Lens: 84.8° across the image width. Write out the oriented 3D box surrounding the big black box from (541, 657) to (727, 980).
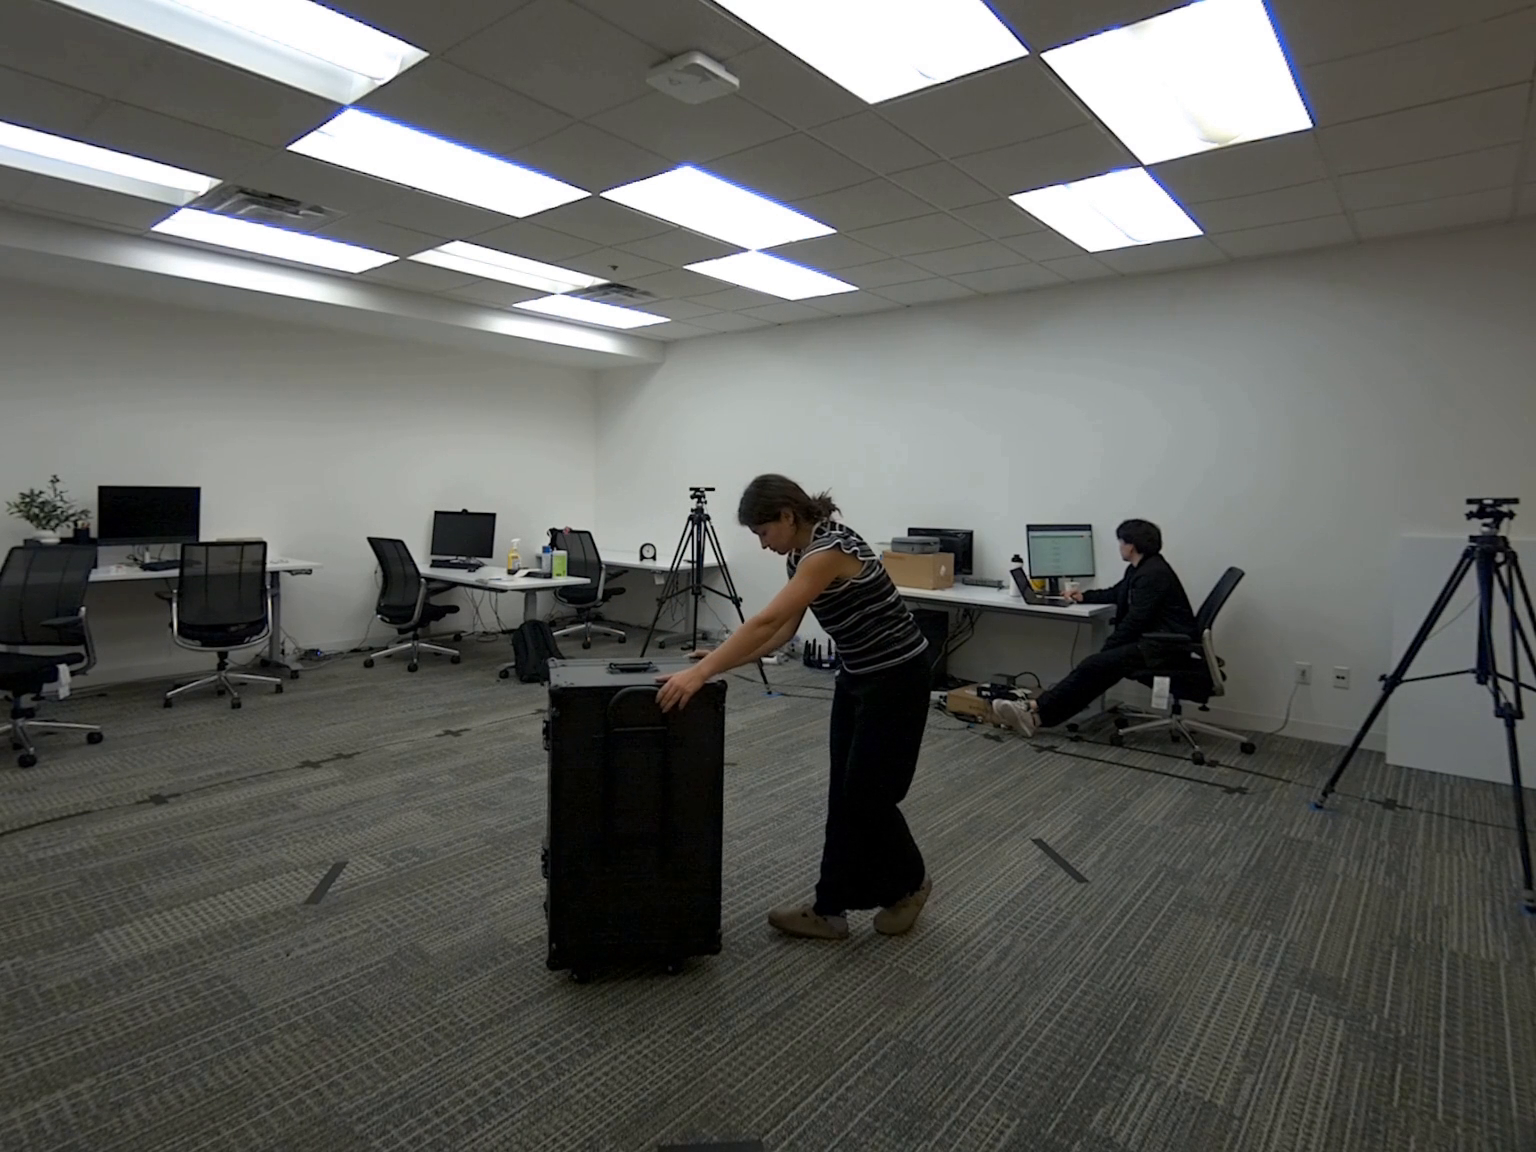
[{"bbox_3d":[-0.406,0.702,2.506,0.514,0.858,0.403,1,5,-14],"label":"big black box"}]
